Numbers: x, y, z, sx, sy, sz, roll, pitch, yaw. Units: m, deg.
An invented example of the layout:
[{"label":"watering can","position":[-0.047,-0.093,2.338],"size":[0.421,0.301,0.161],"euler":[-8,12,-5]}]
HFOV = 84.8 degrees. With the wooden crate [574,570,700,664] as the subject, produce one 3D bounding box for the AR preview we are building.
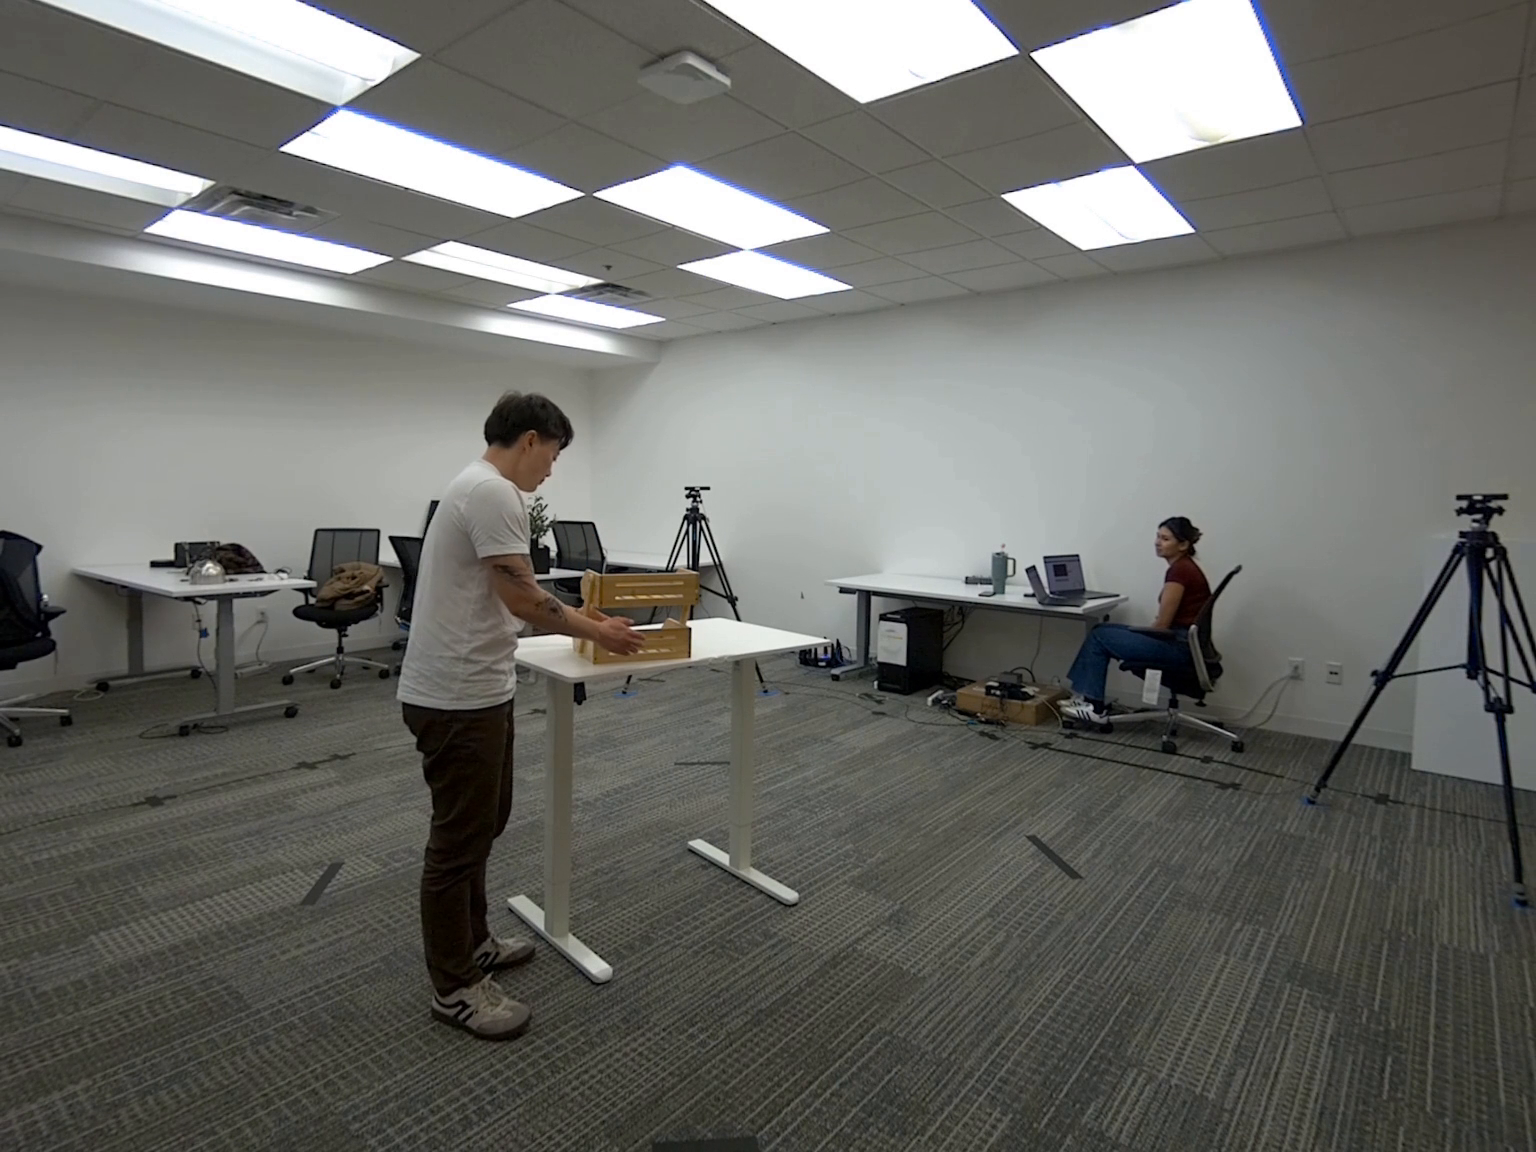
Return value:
[{"label":"wooden crate","position":[-0.422,0.103,2.561],"size":[0.316,0.272,0.311],"euler":[-1,5,-27]}]
